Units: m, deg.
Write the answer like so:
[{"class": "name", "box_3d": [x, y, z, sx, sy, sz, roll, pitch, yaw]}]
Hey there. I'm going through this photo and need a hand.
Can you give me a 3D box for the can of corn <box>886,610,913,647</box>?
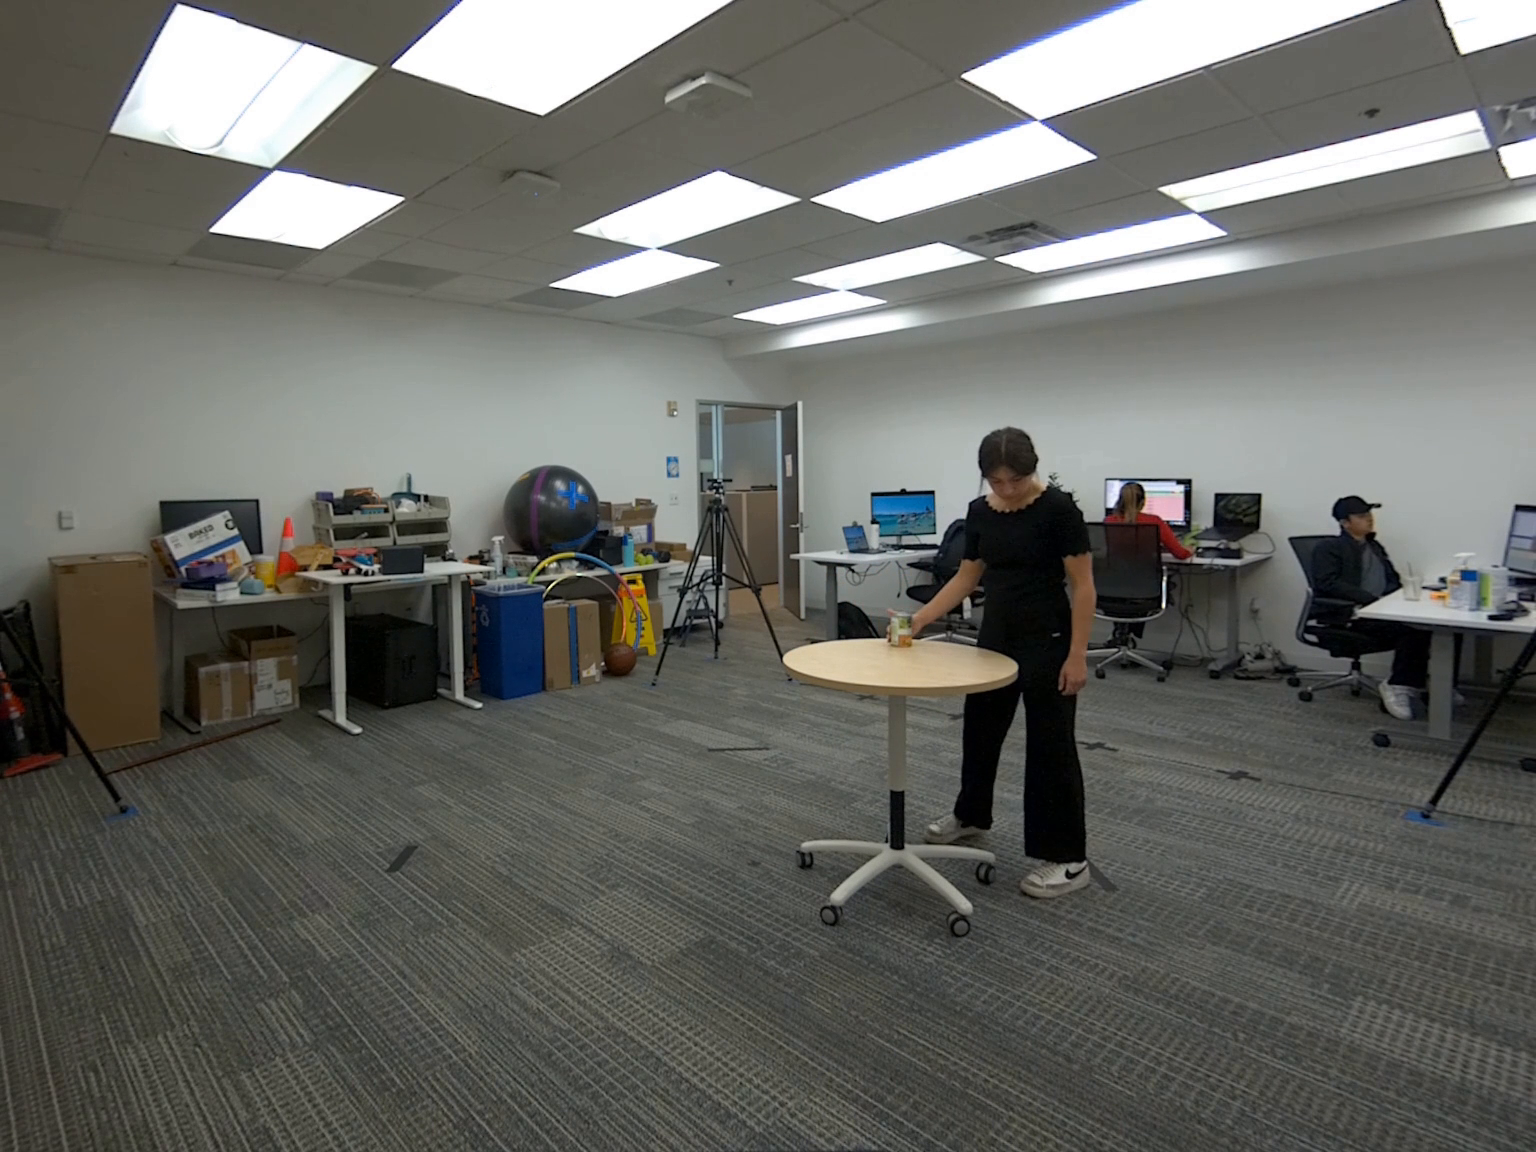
[{"class": "can of corn", "box_3d": [0.493, 0.200, 3.100, 0.074, 0.111, 0.074, 2, 0, -2]}]
